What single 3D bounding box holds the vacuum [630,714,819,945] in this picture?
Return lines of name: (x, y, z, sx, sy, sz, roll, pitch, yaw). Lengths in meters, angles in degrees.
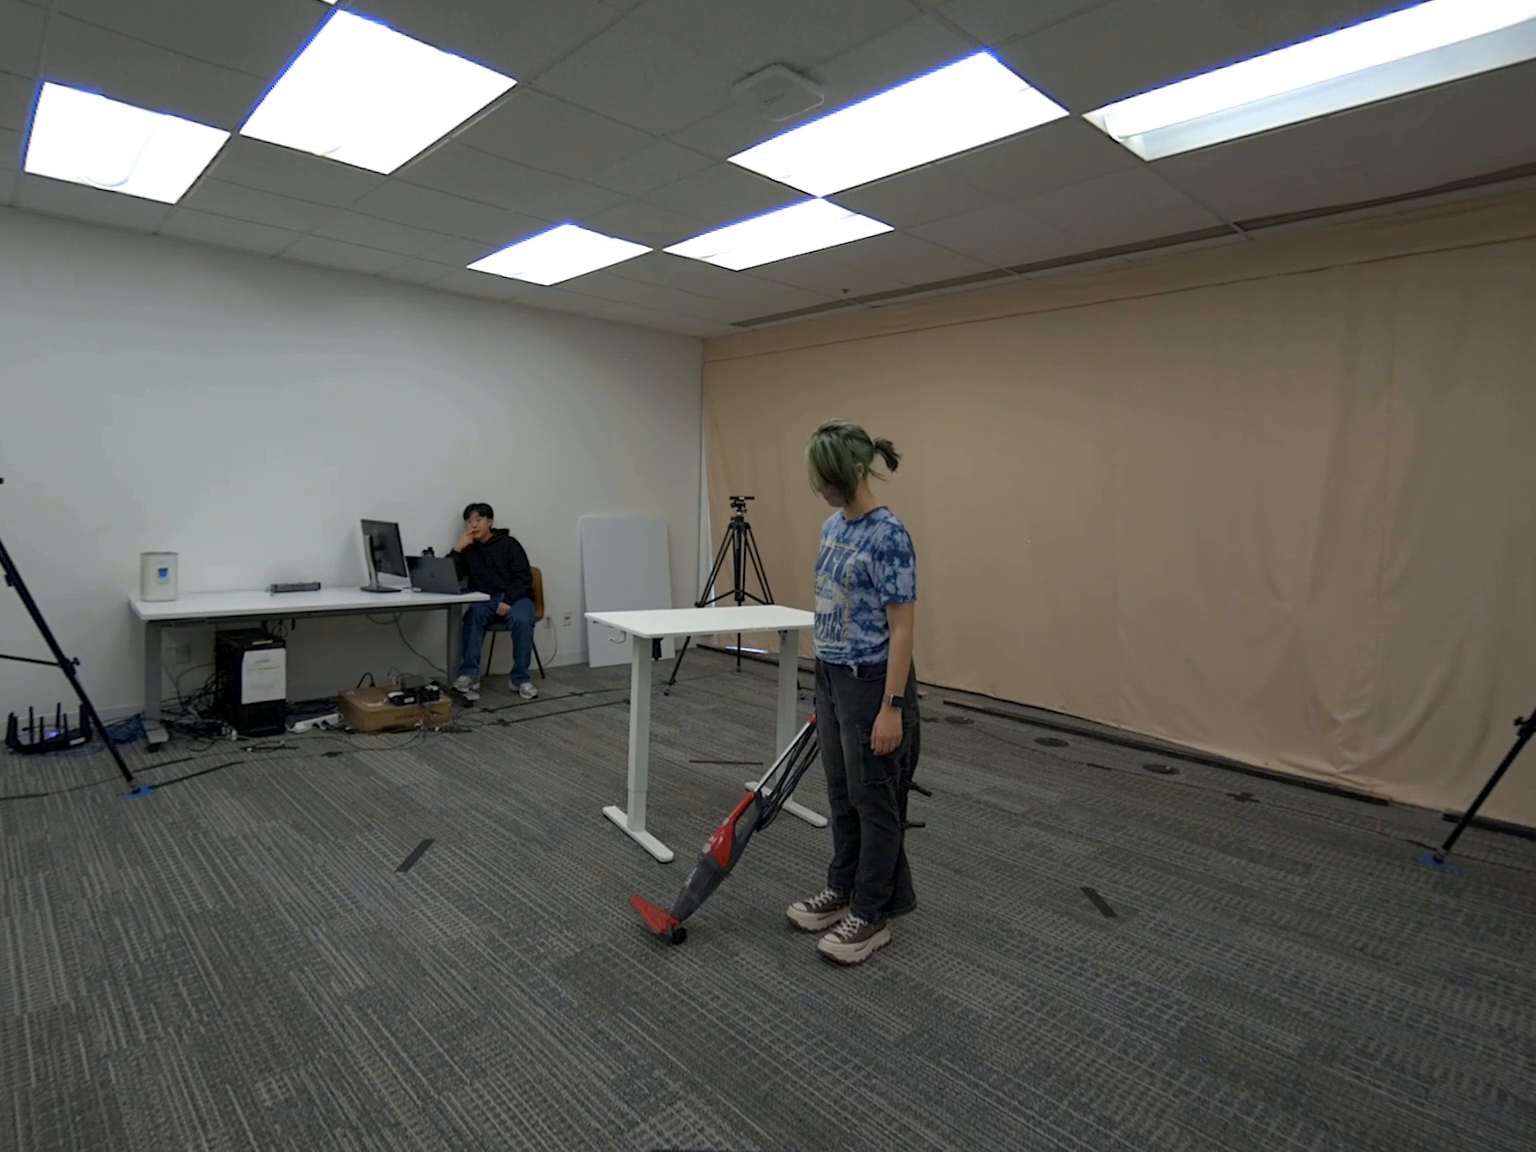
vacuum: (-0.025, 0.749, 2.797, 1.049, 0.141, 0.258, -46, 24, -18)
